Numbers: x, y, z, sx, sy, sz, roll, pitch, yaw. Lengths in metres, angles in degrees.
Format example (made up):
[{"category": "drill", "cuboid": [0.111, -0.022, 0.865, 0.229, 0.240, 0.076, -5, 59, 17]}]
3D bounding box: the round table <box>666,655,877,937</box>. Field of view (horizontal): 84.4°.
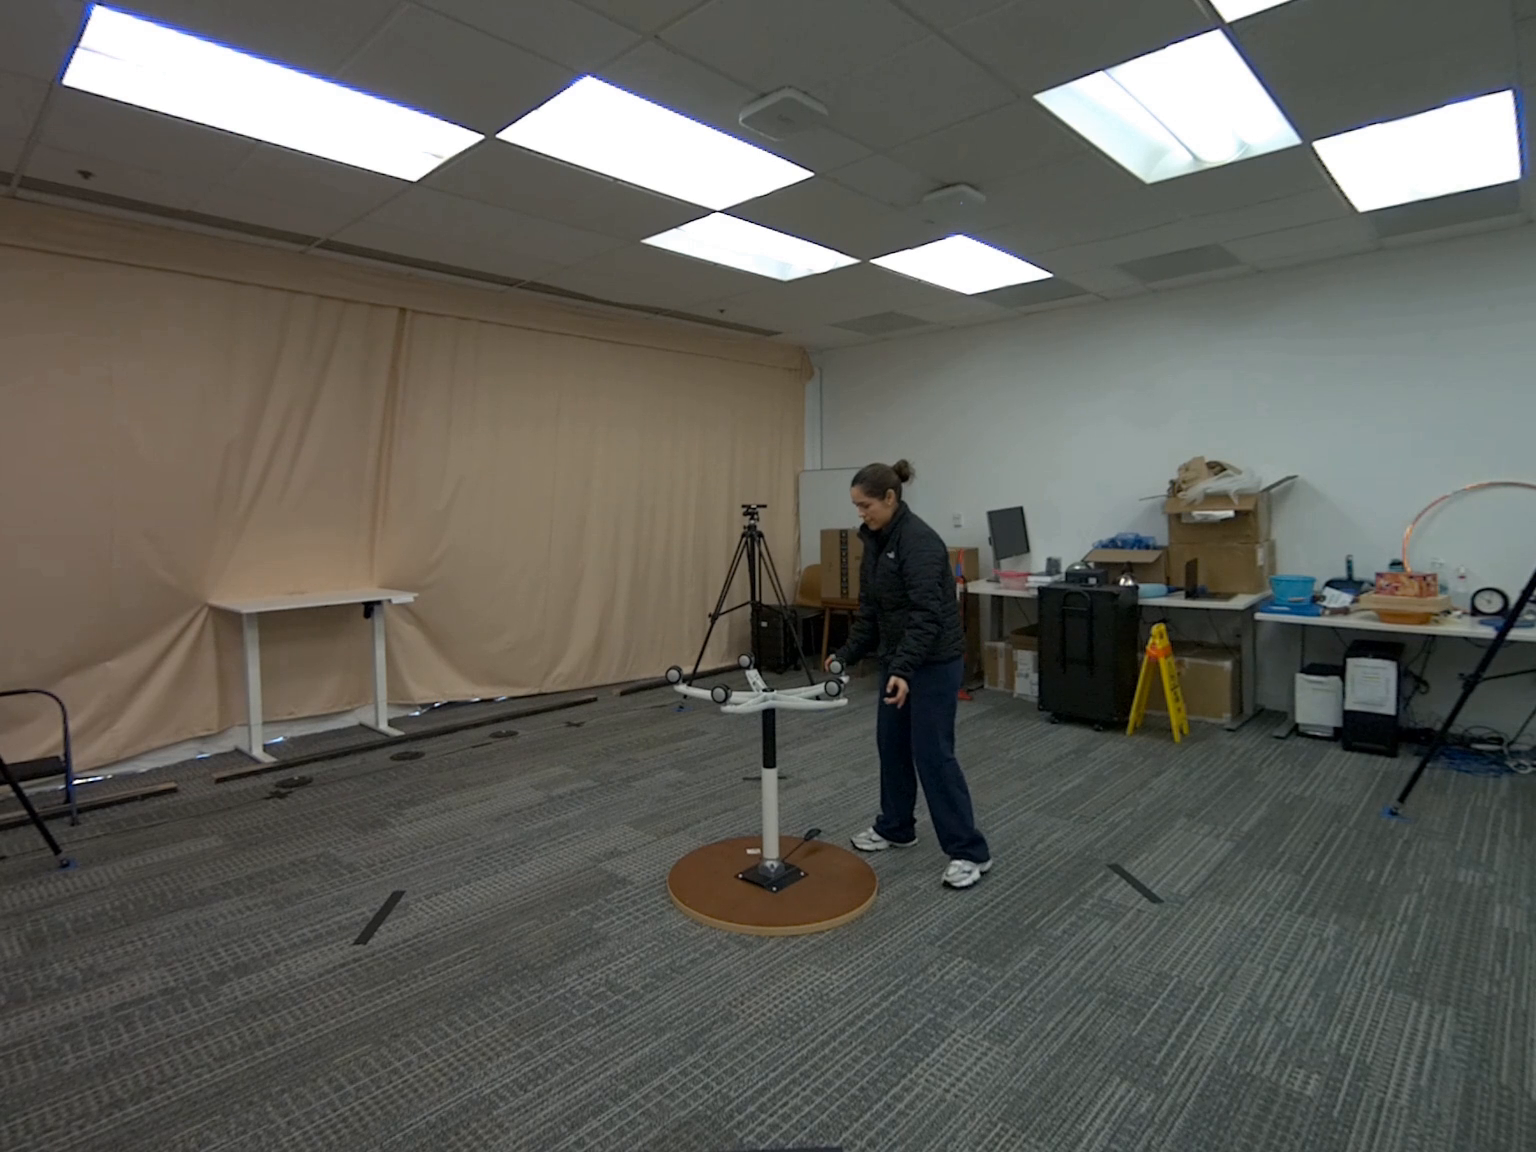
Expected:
[{"category": "round table", "cuboid": [0.028, 0.730, 3.078, 0.784, 0.784, 0.788, -2, 4, -2]}]
